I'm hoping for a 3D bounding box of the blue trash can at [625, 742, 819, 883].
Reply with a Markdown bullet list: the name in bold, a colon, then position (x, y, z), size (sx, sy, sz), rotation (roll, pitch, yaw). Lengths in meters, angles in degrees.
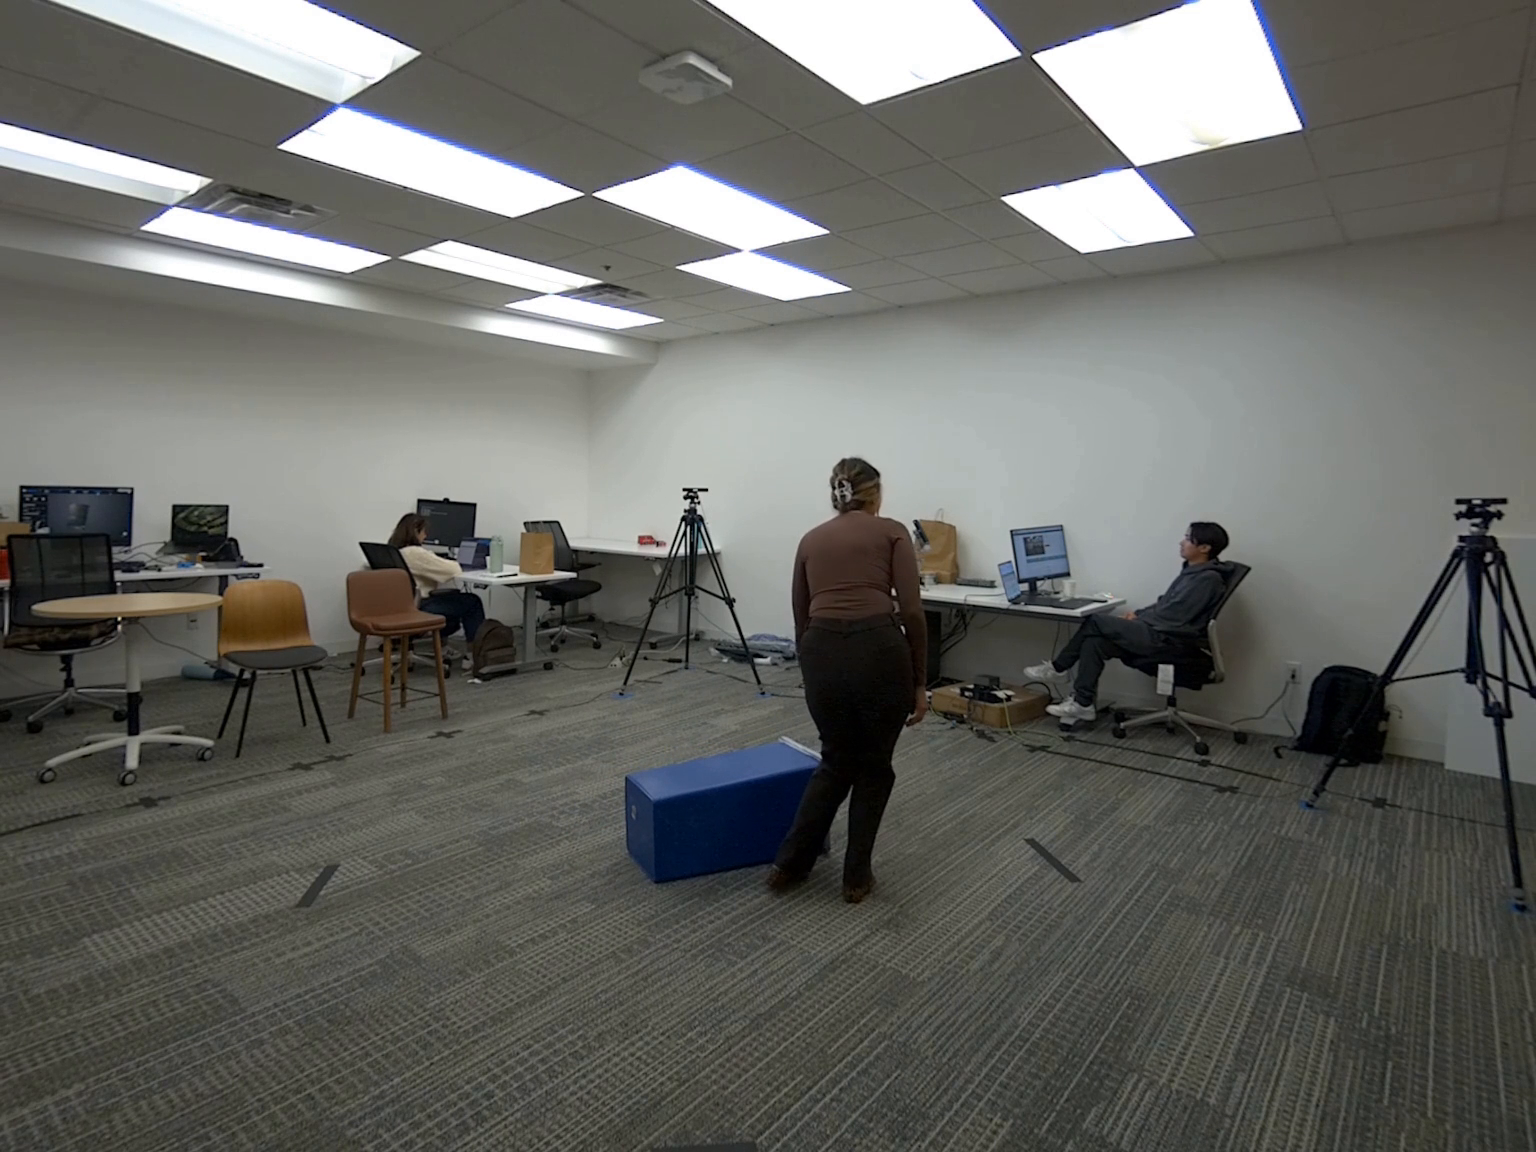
- **blue trash can**: position (-0.174, 0.883, 3.259), size (0.697, 0.376, 0.385), rotation (-3, 7, -26)
